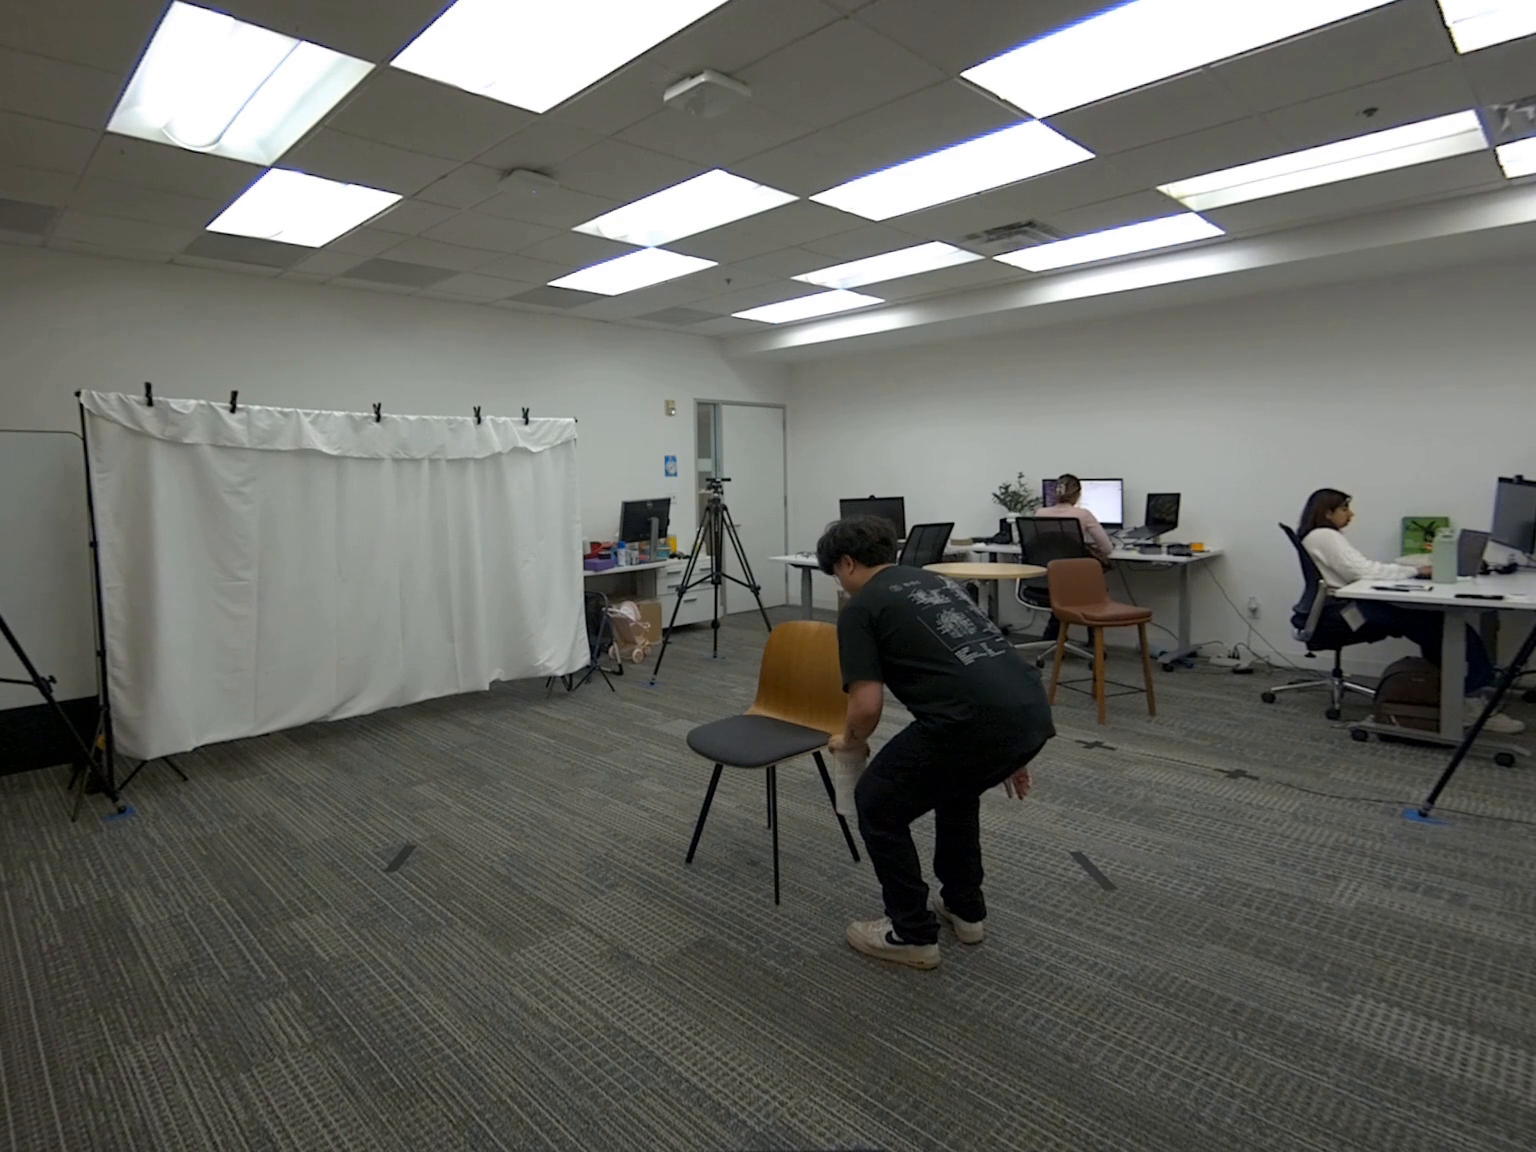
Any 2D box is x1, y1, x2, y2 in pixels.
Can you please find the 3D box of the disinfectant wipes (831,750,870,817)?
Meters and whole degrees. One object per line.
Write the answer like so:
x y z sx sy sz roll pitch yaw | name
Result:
0.275 0.651 2.729 0.118 0.217 0.118 -4 3 -1 | disinfectant wipes
